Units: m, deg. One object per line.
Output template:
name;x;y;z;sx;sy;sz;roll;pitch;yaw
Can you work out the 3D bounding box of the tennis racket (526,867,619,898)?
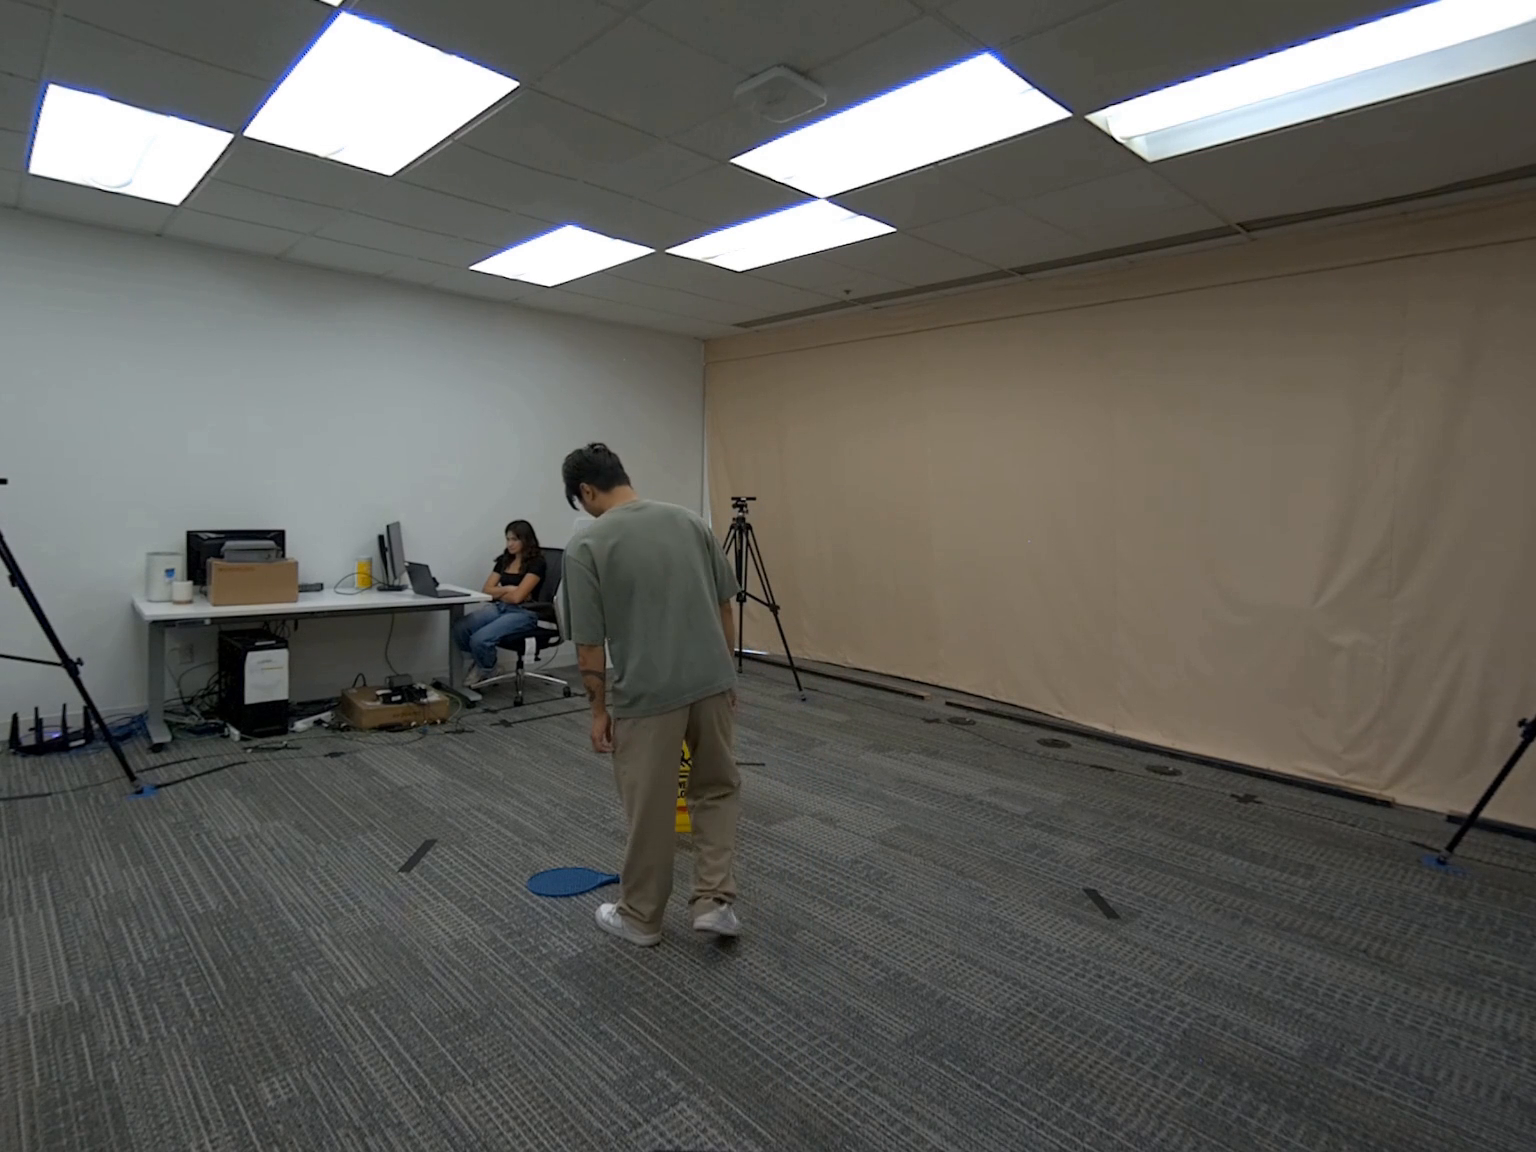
tennis racket;-0.645;1.087;3.020;0.431;0.031;0.215;-1;6;-7
